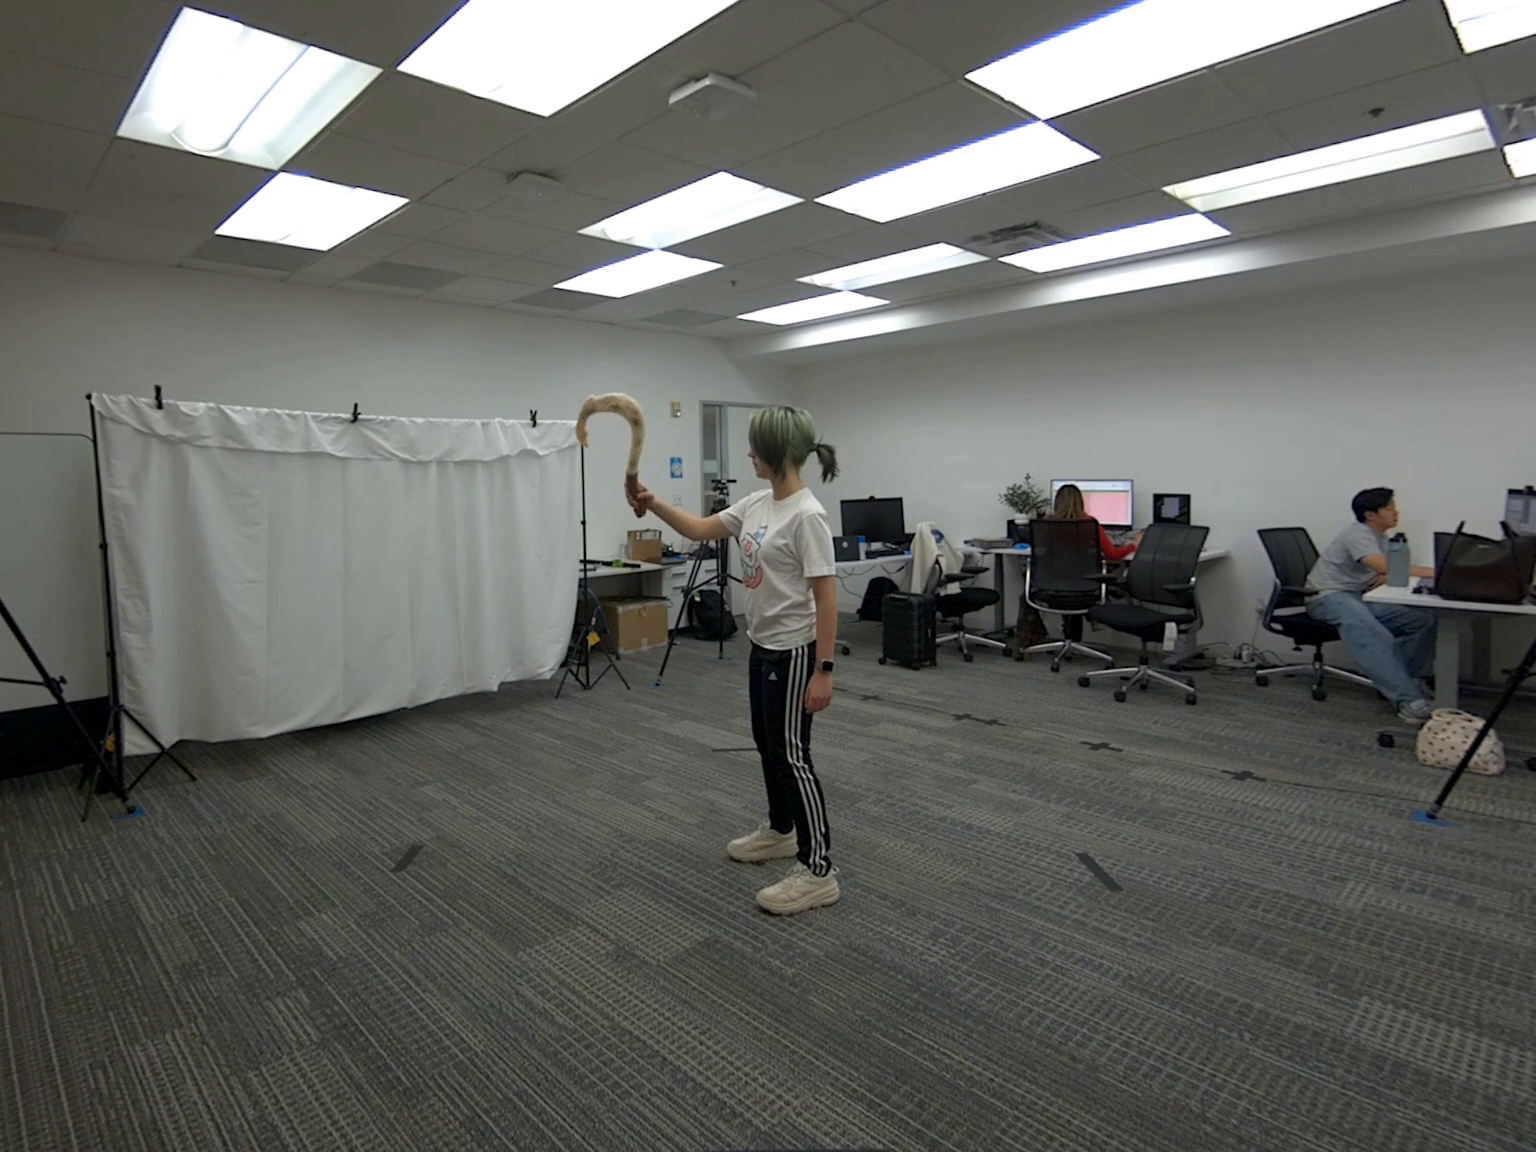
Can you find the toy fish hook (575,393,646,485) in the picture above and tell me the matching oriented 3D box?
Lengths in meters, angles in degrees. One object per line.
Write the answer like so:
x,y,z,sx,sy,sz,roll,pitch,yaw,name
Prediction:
-0.507,-0.367,2.817,0.224,0.492,0.050,-2,41,-1,toy fish hook
